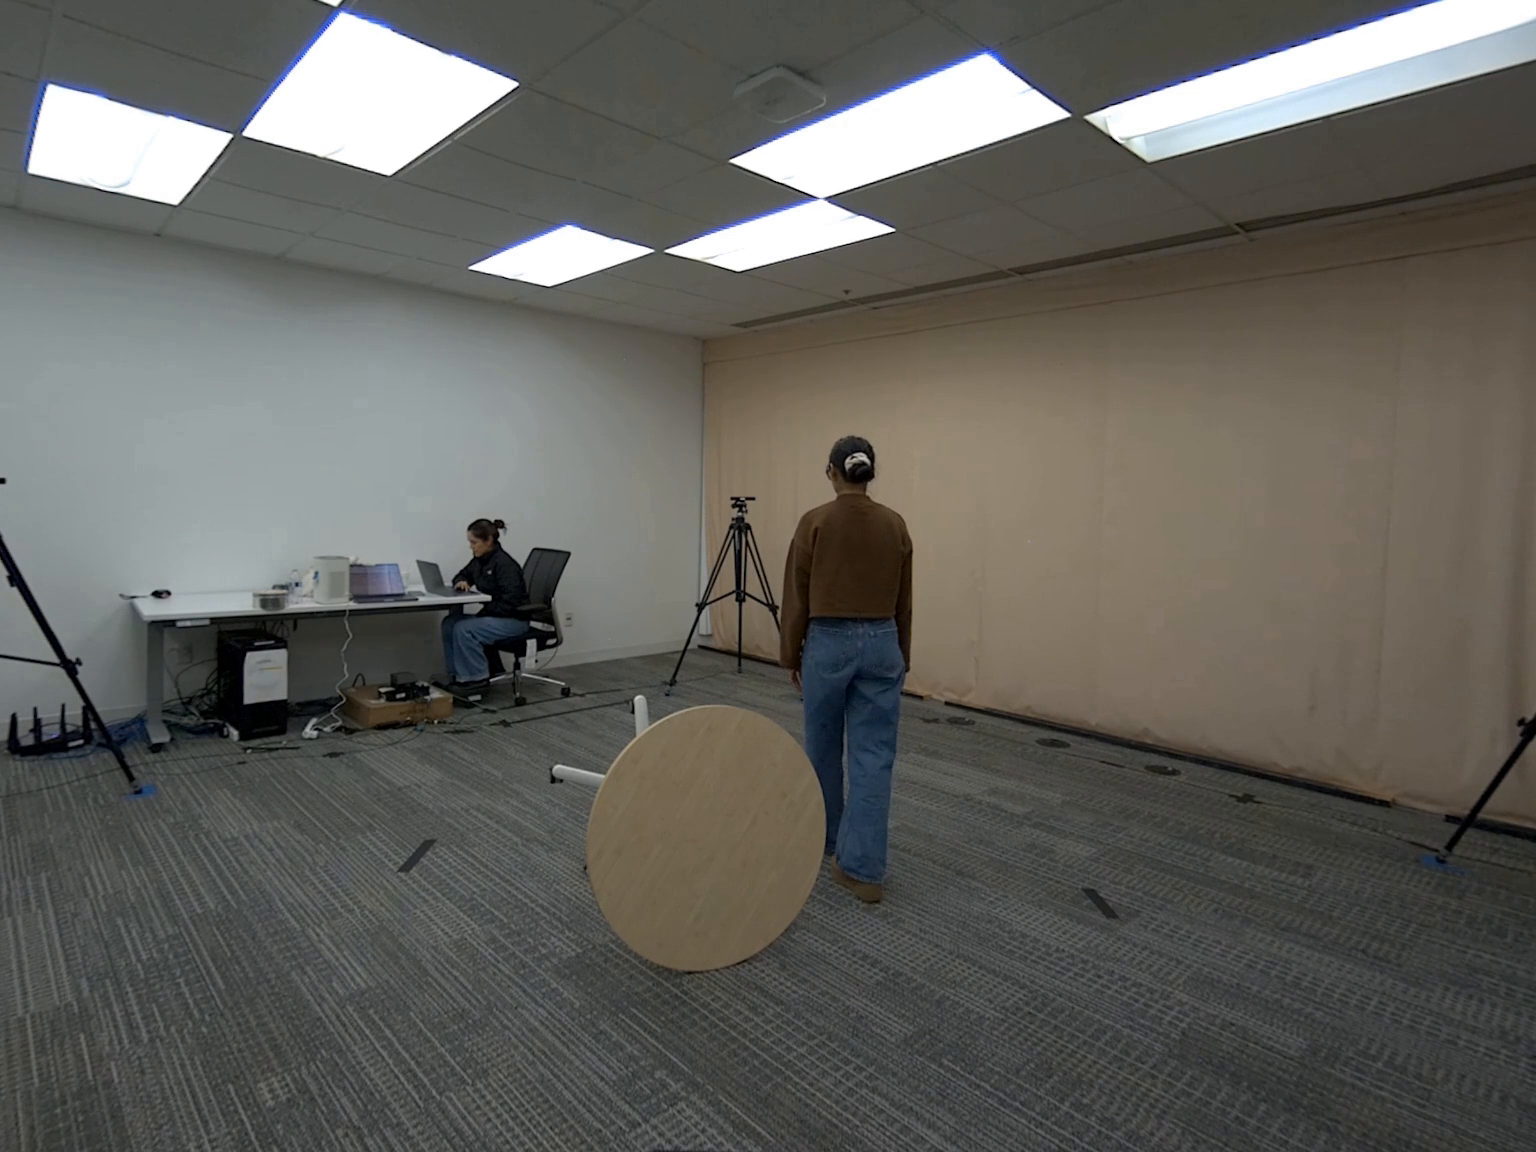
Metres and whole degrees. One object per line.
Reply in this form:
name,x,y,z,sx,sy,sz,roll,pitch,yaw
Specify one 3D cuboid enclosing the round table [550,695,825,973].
round table,-0.338,0.791,2.870,0.750,0.766,0.806,-1,-3,-24
